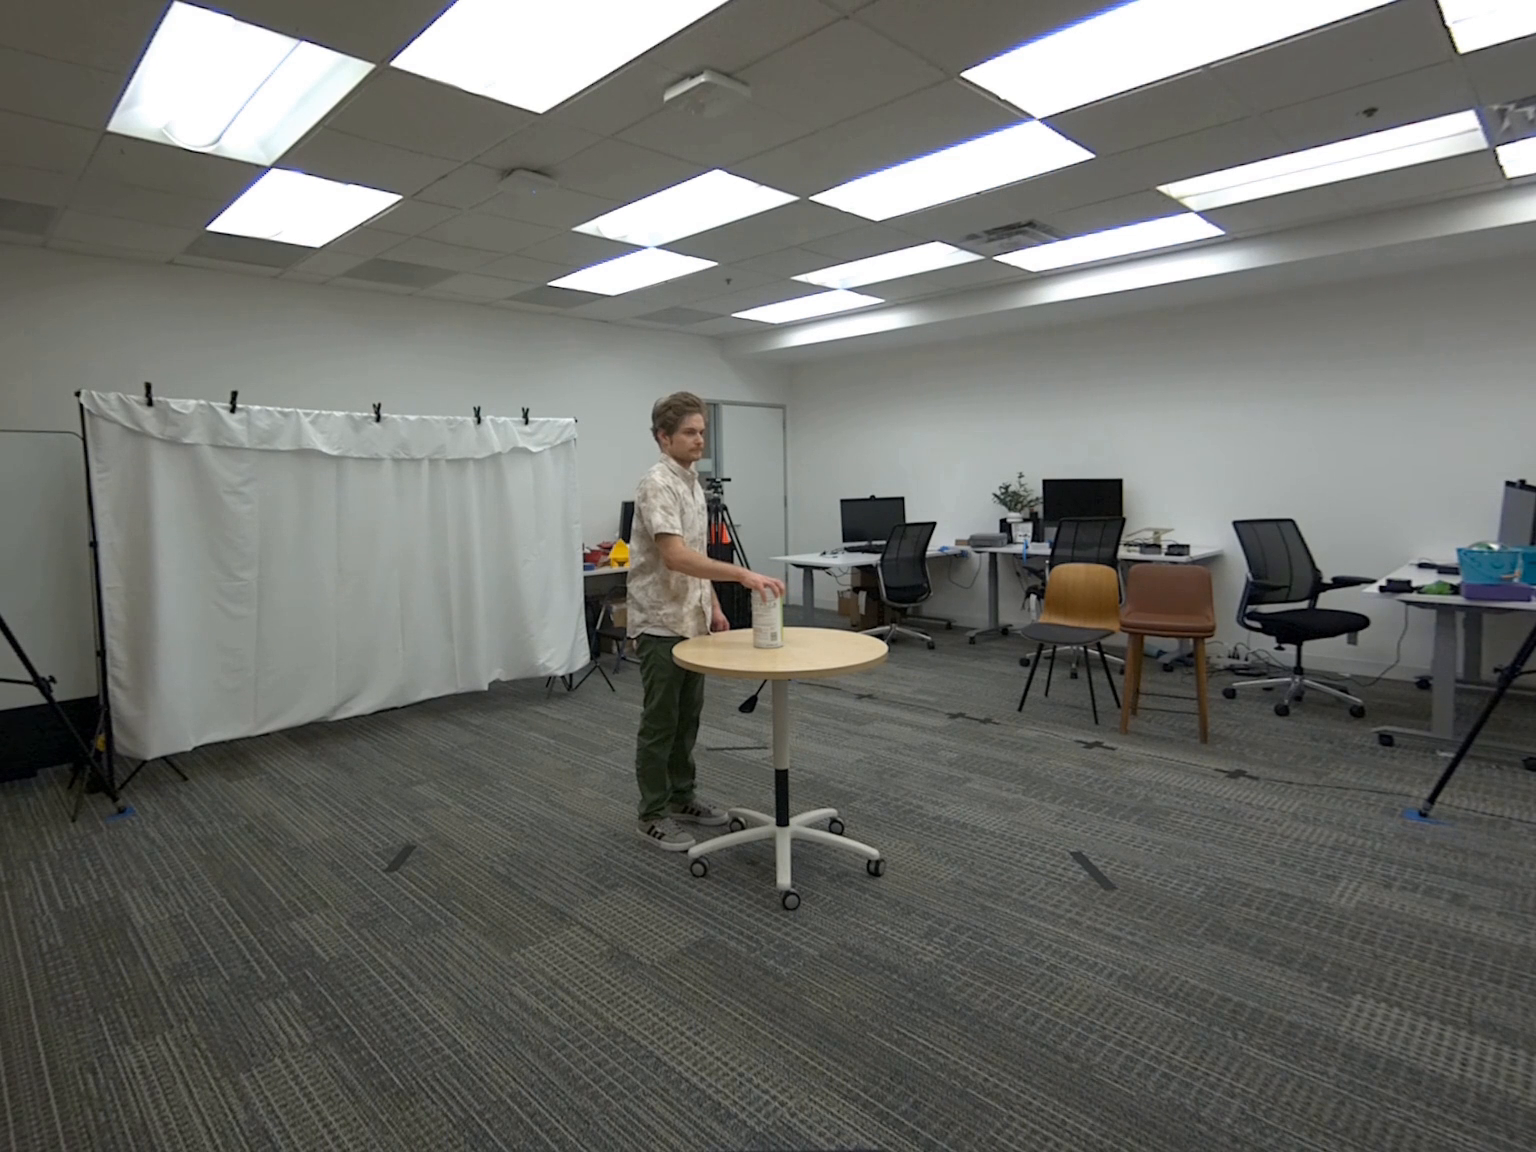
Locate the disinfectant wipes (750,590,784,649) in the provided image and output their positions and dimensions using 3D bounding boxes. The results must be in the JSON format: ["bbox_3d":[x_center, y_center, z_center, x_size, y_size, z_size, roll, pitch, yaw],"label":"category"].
[{"bbox_3d":[0.002,0.148,3.072,0.118,0.217,0.118,-1,3,-2],"label":"disinfectant wipes"}]
